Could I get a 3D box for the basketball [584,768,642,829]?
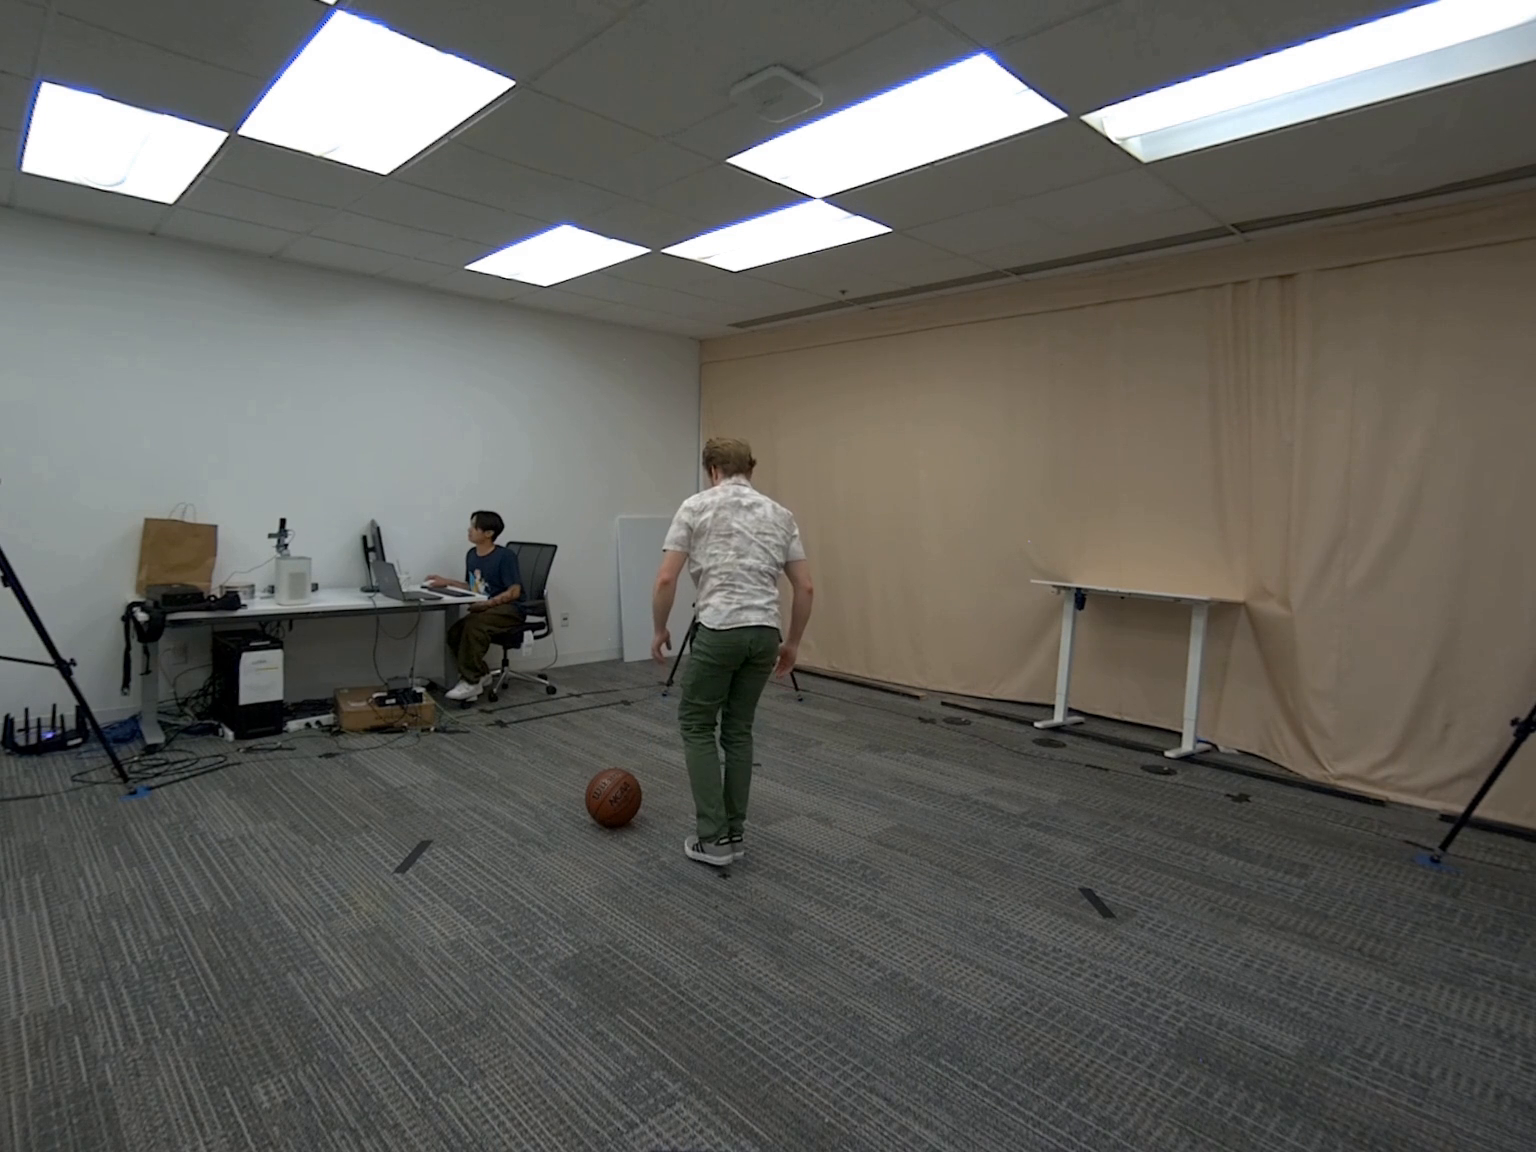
[{"bbox_3d":[-0.664,0.932,3.555,0.236,0.235,0.237,1,4,-1],"label":"basketball"}]
